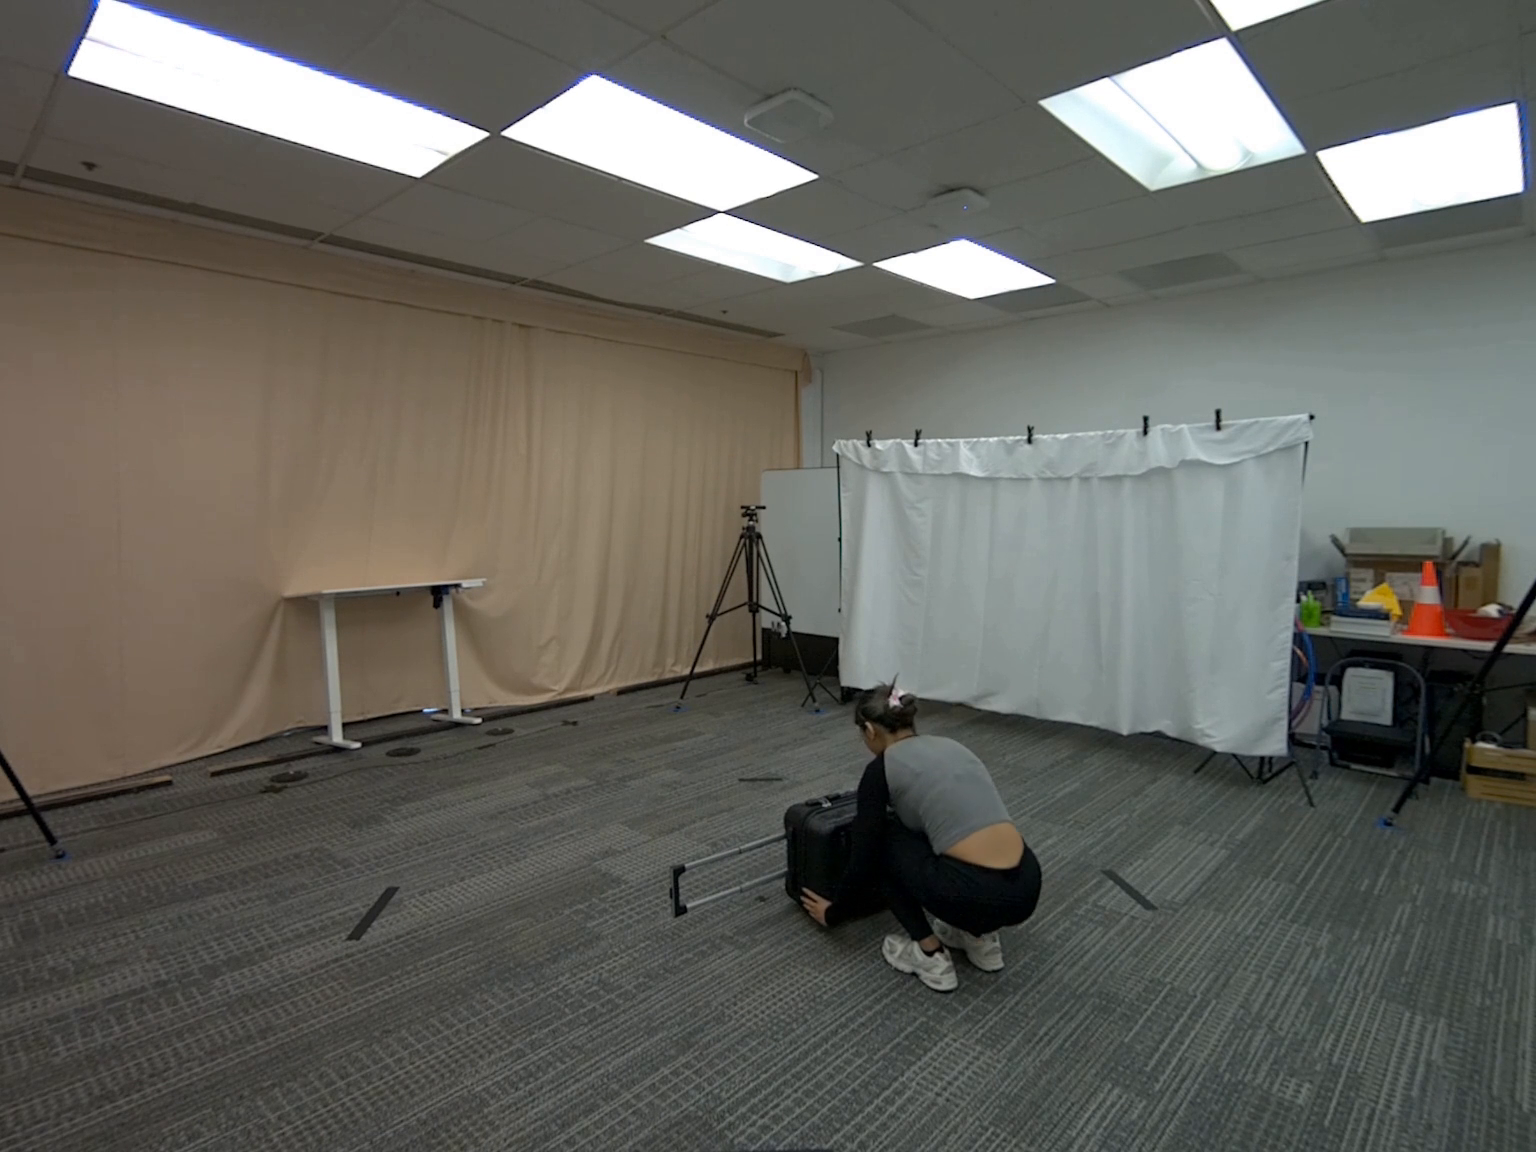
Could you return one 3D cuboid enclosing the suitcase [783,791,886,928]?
[{"bbox_3d":[0.157,0.967,2.853,0.950,0.384,0.265,-3,1,-35],"label":"suitcase"}]
